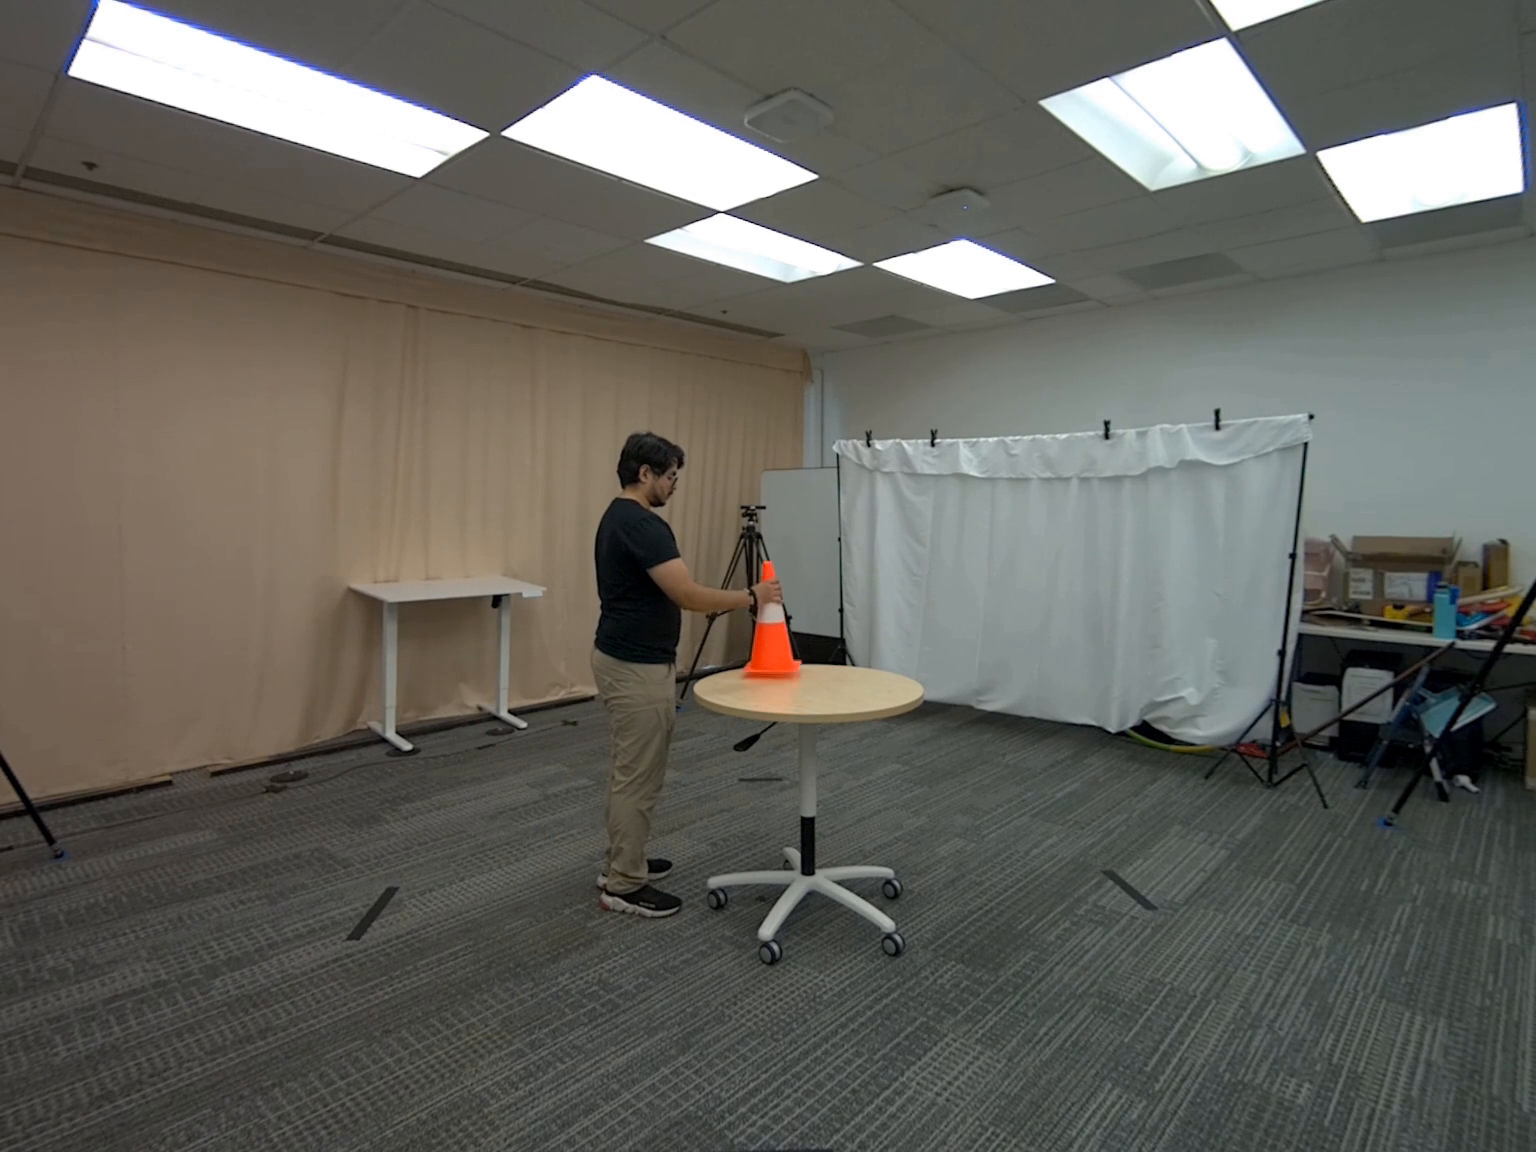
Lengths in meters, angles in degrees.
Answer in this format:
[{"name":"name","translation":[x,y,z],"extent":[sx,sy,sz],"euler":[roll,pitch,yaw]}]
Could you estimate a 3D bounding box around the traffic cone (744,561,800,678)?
[{"name":"traffic cone","translation":[0.003,0.140,3.023],"extent":[0.206,0.383,0.202],"euler":[-2,3,5]}]
